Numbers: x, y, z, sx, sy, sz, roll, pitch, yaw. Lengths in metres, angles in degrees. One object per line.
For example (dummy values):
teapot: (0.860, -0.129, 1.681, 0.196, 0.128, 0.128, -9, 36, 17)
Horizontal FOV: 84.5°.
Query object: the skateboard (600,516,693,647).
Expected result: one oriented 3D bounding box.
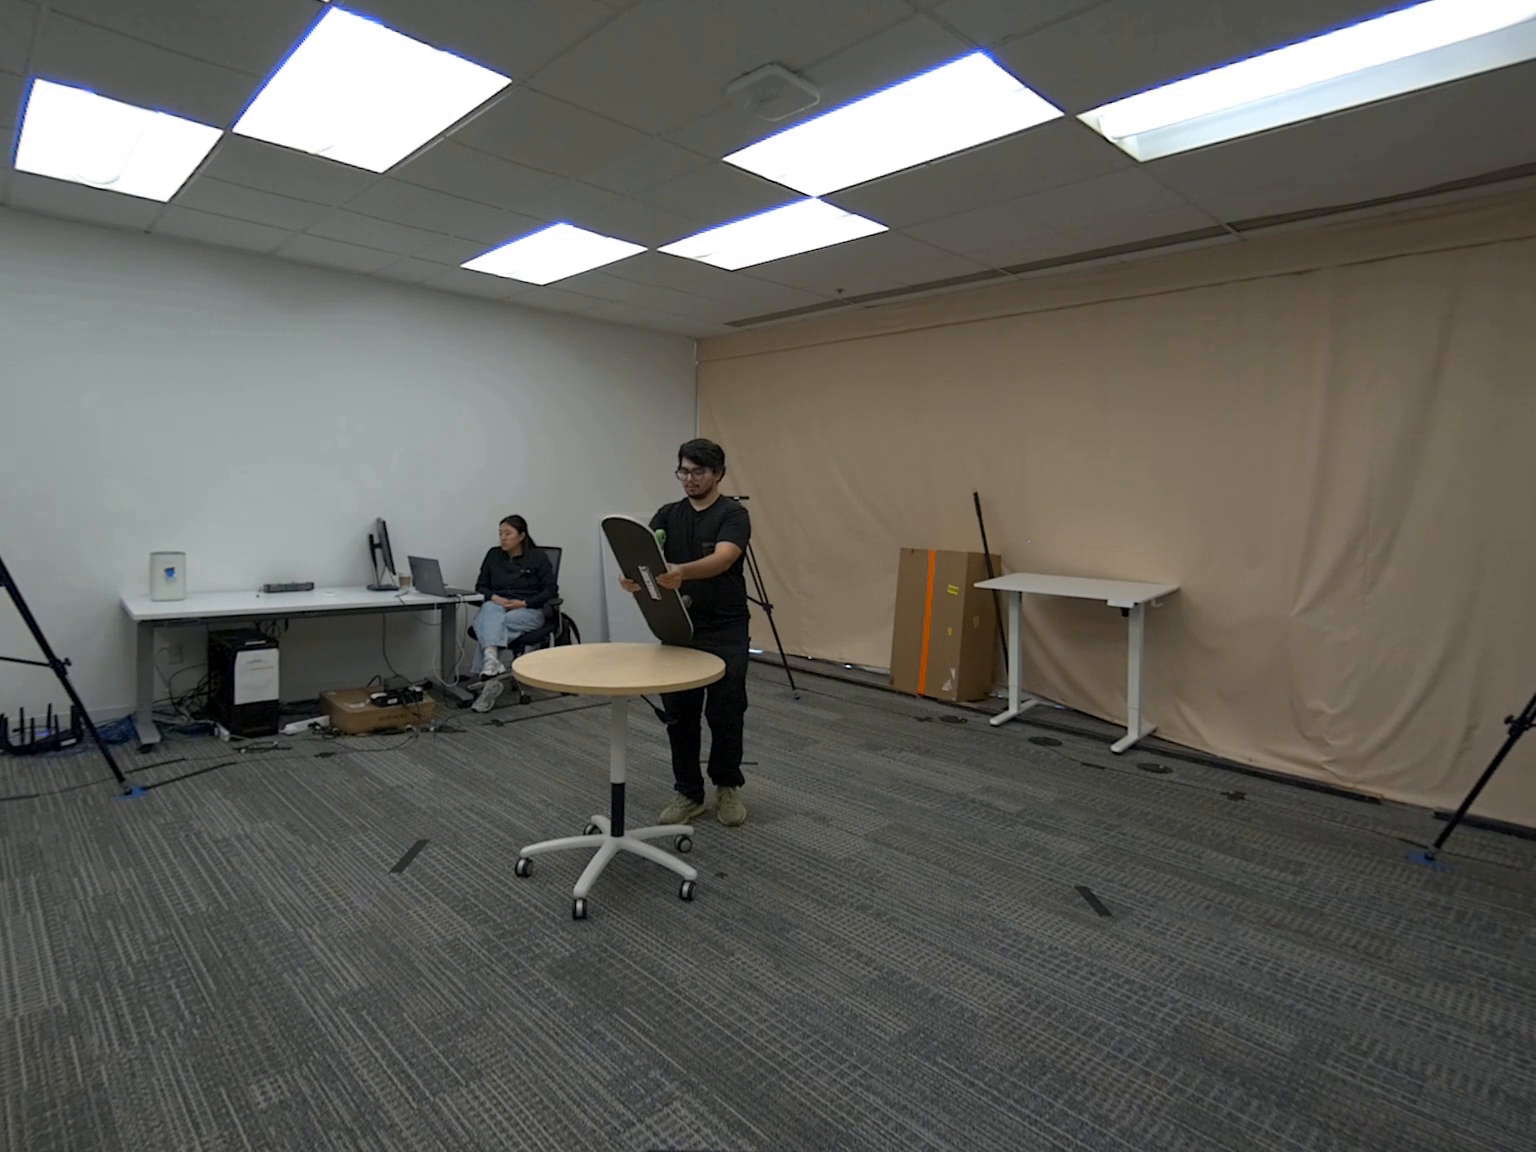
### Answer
skateboard: (-0.448, 0.006, 3.170, 0.196, 0.112, 0.764, 6, -38, 17)
